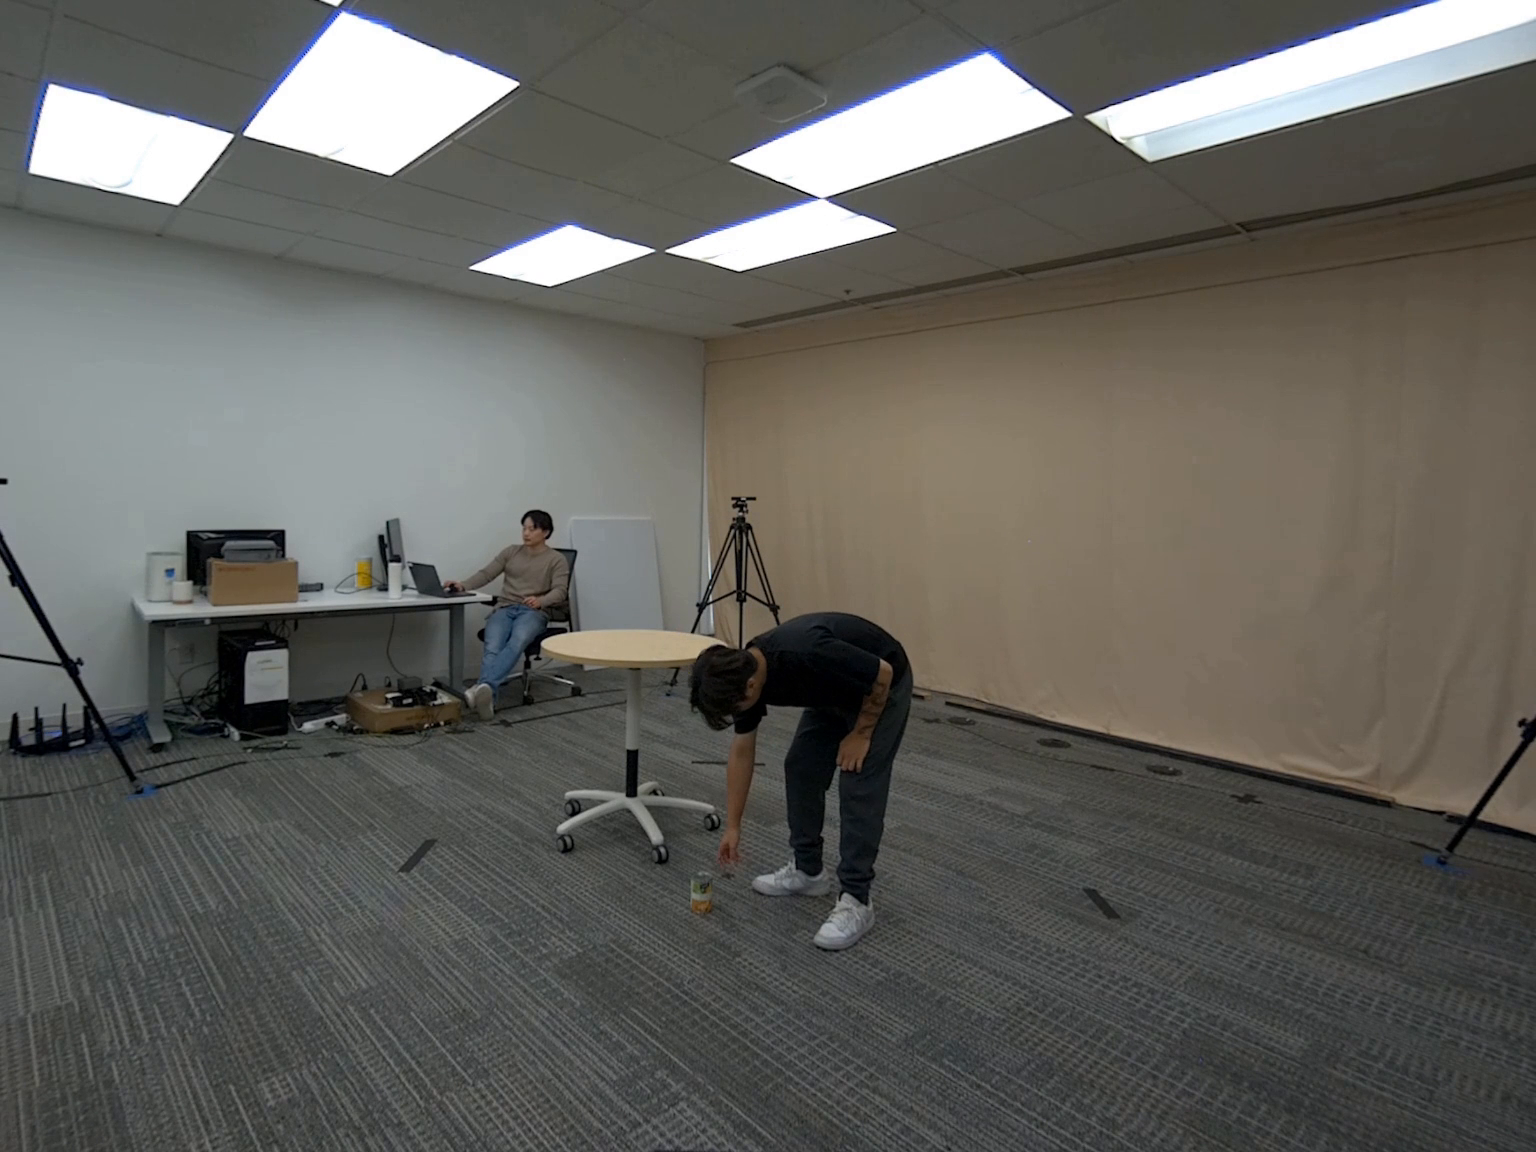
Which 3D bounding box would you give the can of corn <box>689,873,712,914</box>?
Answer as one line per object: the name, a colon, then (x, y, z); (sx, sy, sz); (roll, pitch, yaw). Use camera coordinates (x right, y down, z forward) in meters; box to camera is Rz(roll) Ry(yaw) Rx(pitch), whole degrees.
can of corn: (-0.226, 1.070, 2.851); (0.074, 0.111, 0.074); (2, 2, -1)
